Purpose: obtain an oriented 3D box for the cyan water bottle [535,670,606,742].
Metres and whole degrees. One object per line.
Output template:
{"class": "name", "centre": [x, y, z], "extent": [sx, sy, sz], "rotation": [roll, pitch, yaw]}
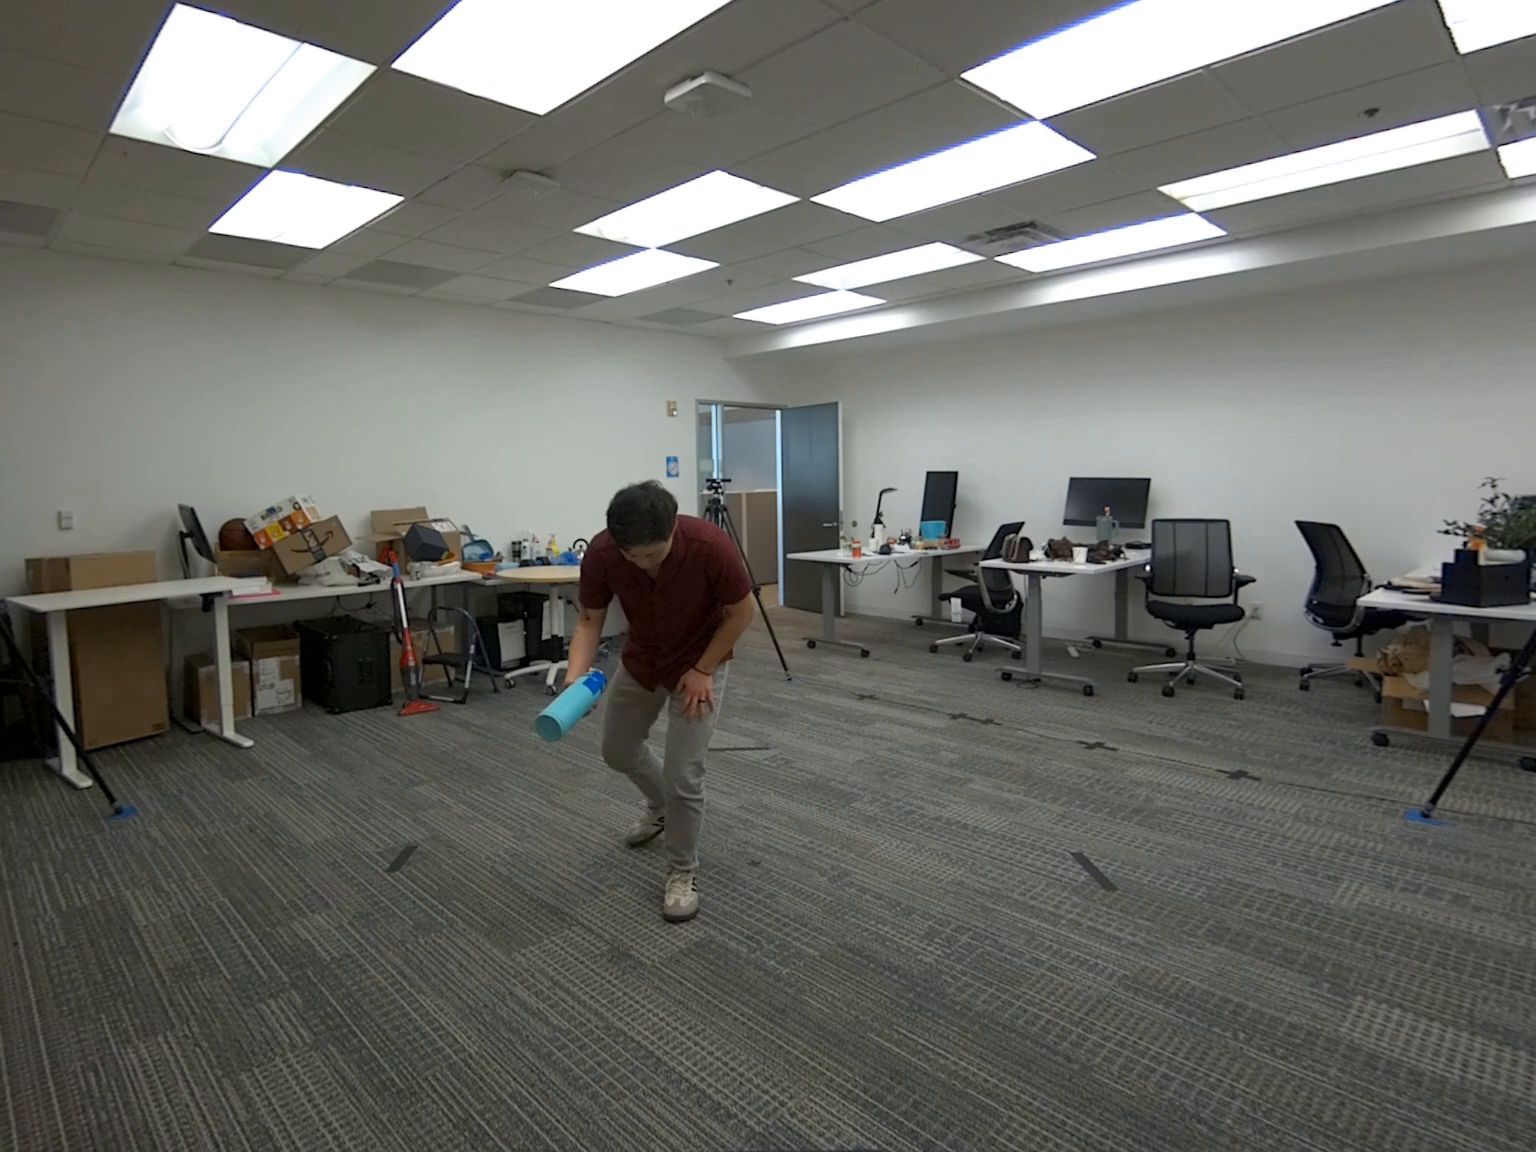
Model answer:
{"class": "cyan water bottle", "centre": [-0.545, 0.361, 2.441], "extent": [0.094, 0.090, 0.283], "rotation": [0, 21, 19]}
